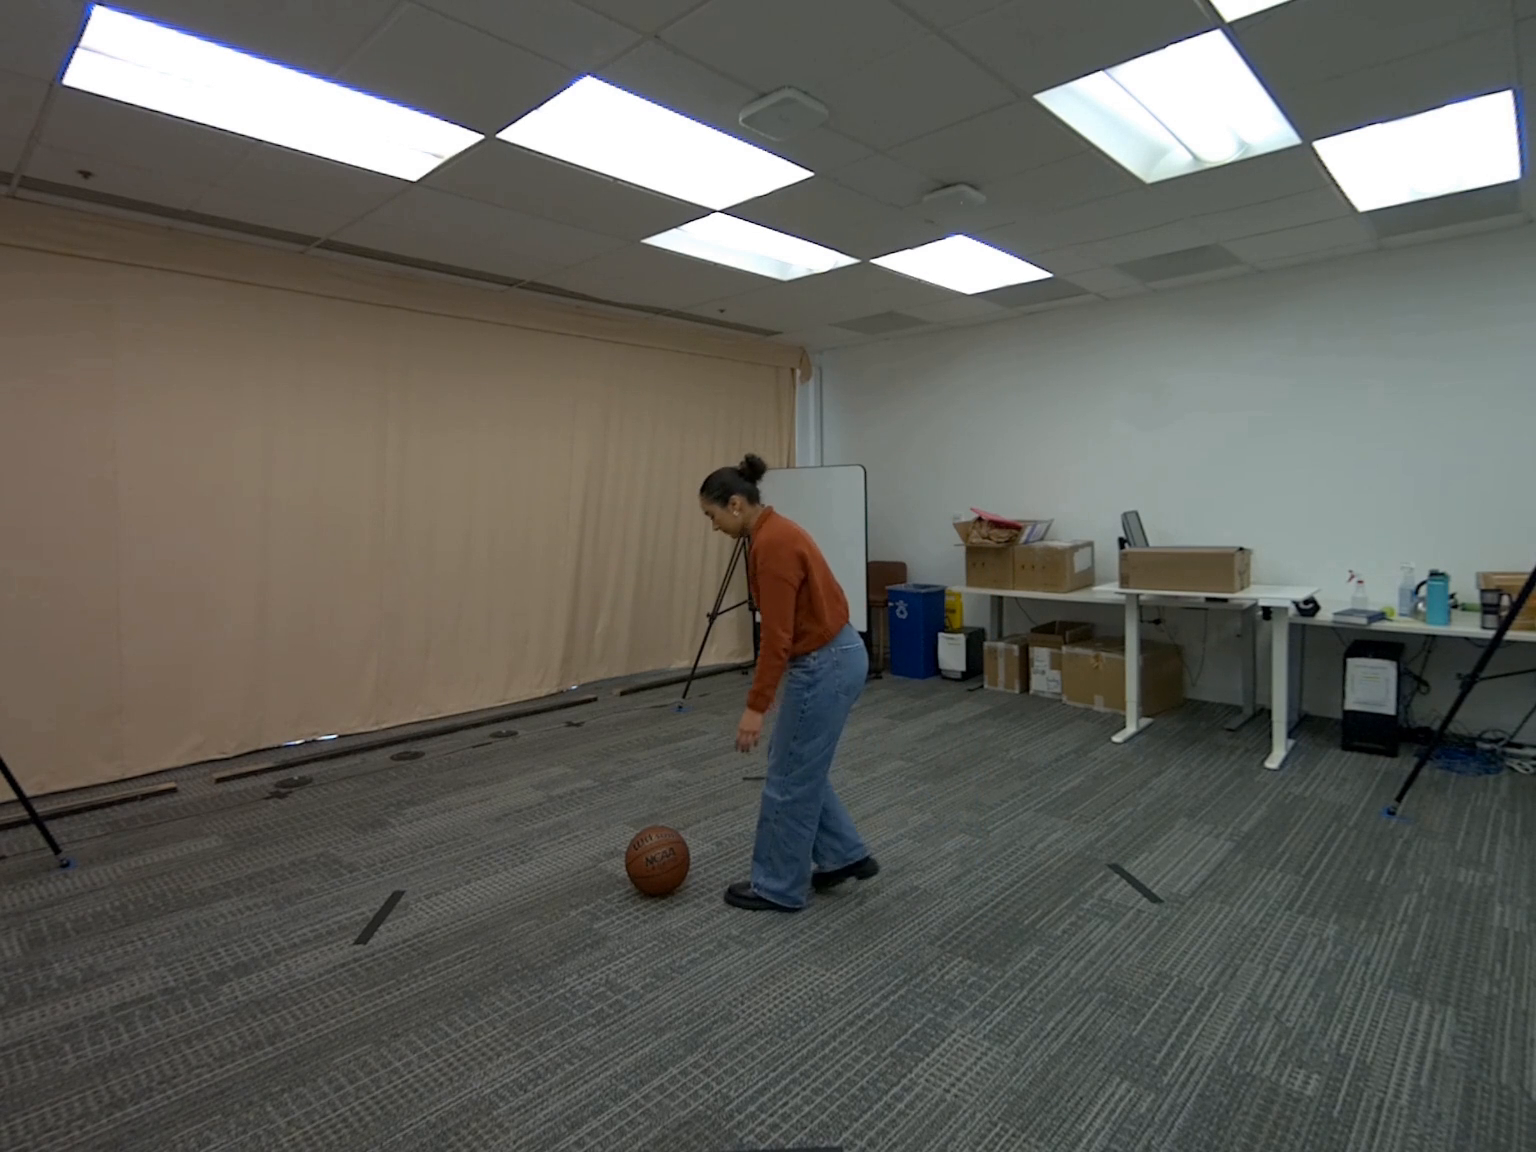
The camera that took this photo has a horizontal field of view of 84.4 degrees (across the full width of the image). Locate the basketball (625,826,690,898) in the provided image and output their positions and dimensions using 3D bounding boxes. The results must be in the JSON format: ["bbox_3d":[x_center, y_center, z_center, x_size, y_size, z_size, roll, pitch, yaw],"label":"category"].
[{"bbox_3d":[-0.395,1.024,3.036,0.236,0.235,0.237,-1,4,-2],"label":"basketball"}]
